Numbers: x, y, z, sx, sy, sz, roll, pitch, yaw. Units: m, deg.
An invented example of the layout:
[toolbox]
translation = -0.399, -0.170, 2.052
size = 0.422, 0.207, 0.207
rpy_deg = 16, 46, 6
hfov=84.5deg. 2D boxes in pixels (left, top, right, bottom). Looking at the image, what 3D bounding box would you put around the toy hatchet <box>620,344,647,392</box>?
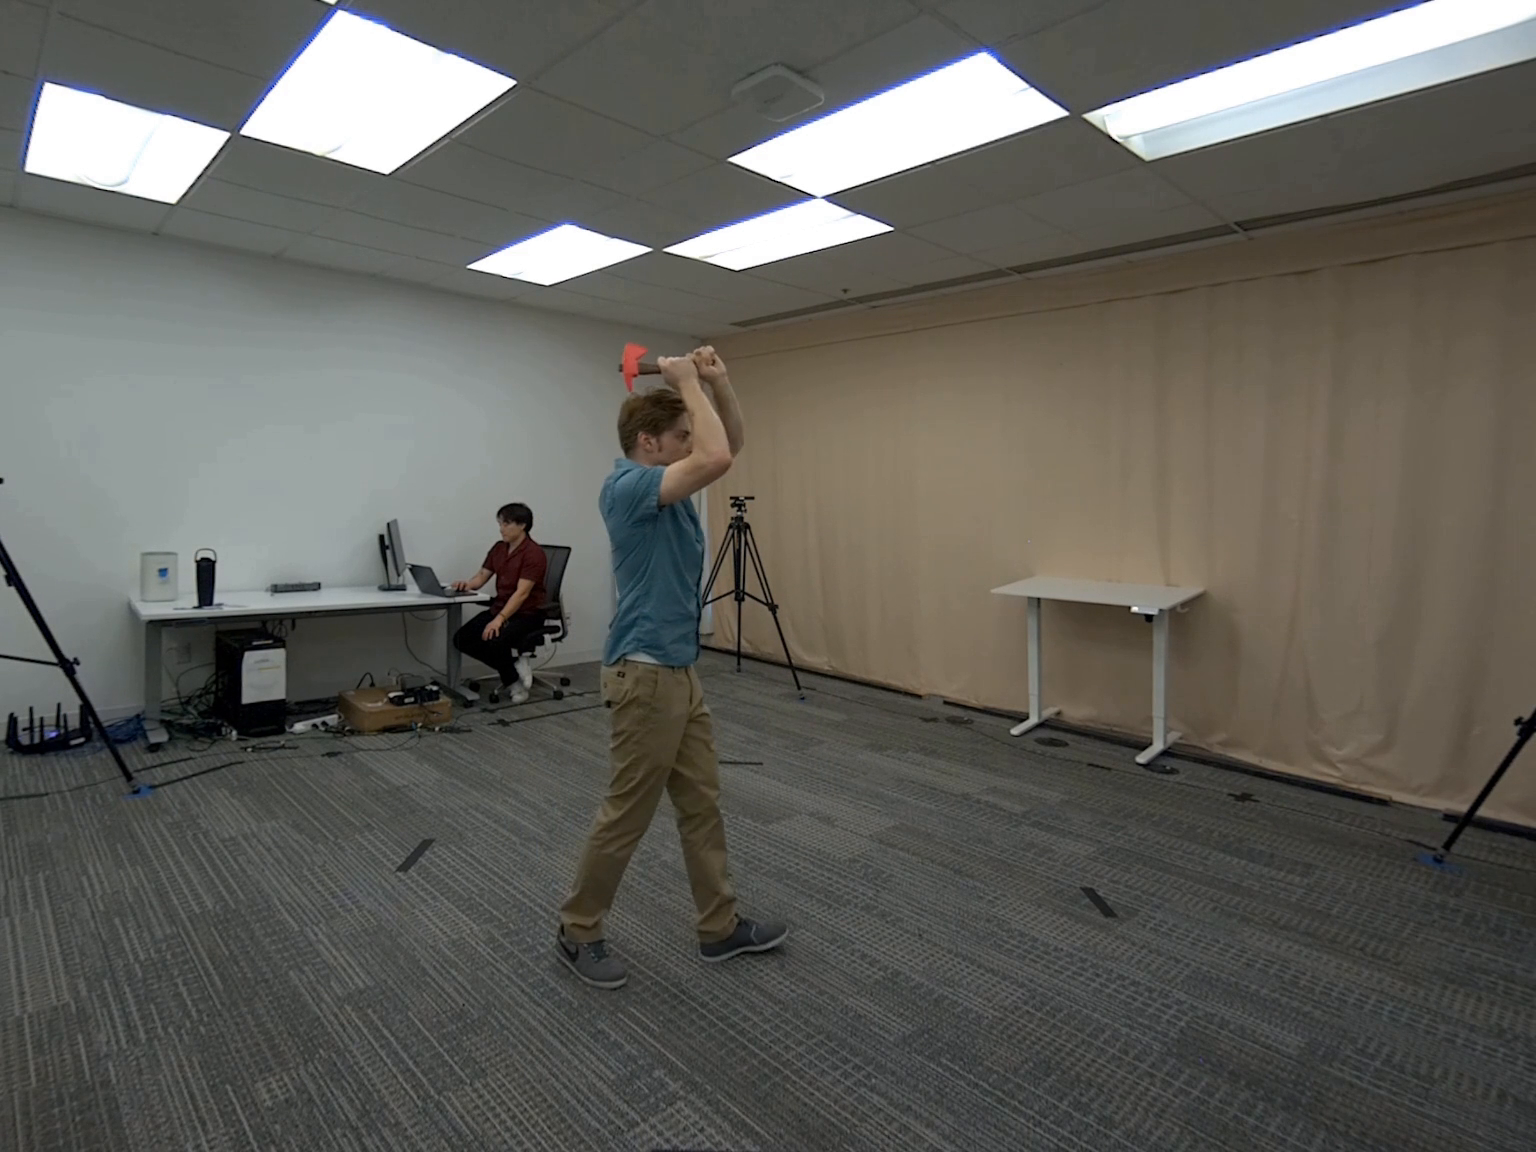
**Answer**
[toy hatchet]
translation = -0.296, -0.607, 2.347
size = 0.269, 0.131, 0.029
rpy_deg = -22, -3, -10
